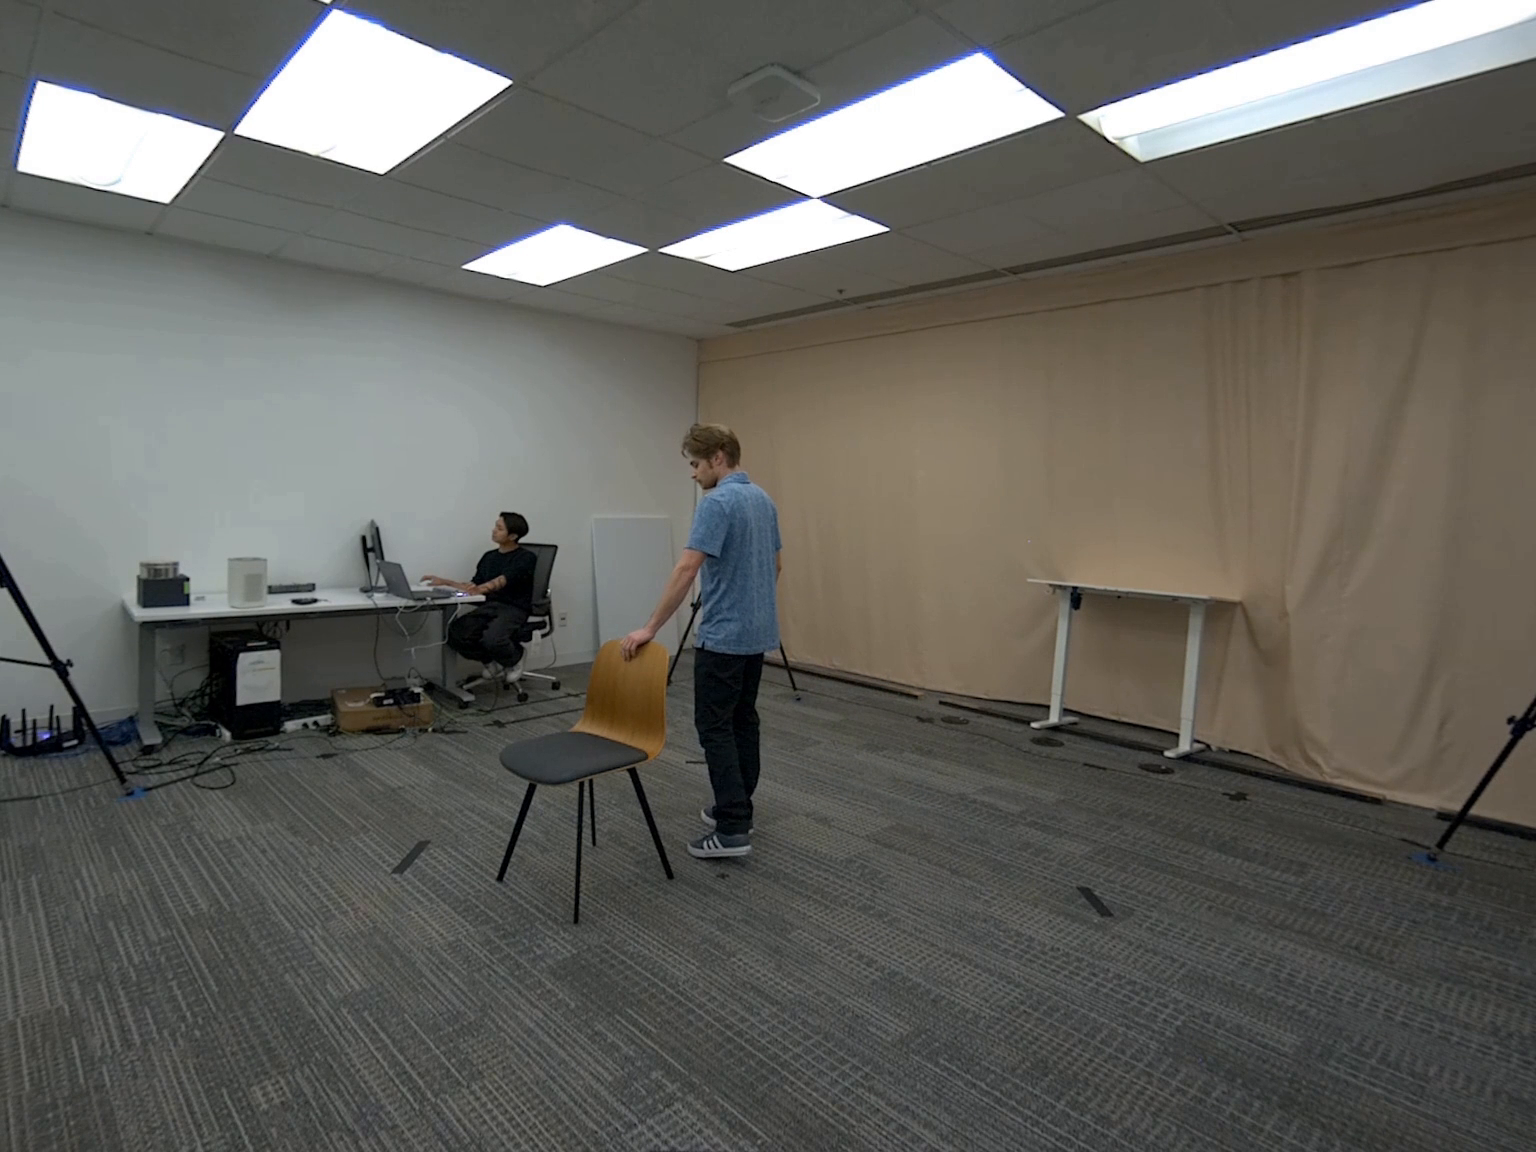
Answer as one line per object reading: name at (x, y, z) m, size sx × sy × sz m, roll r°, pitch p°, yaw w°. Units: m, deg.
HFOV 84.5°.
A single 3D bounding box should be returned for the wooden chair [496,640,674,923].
wooden chair at (-0.653, 0.675, 3.002) m, size 0.490 × 0.877 × 0.510 m, roll 5°, pitch 0°, yaw 40°
